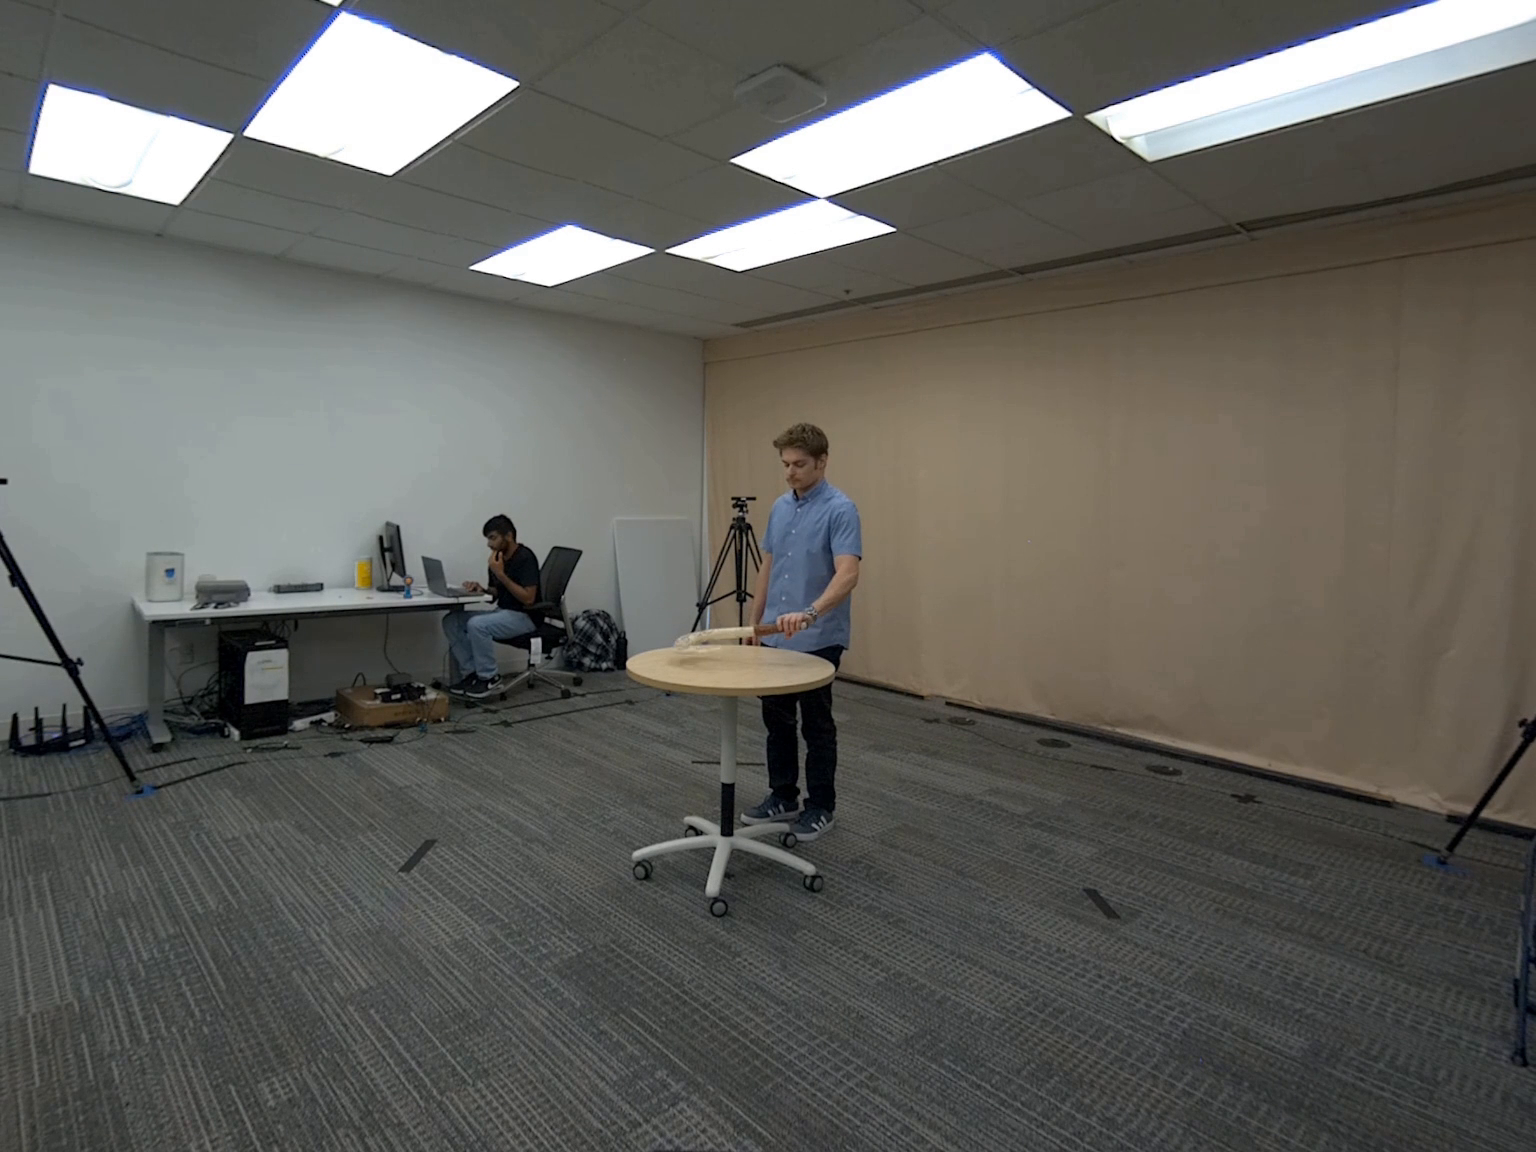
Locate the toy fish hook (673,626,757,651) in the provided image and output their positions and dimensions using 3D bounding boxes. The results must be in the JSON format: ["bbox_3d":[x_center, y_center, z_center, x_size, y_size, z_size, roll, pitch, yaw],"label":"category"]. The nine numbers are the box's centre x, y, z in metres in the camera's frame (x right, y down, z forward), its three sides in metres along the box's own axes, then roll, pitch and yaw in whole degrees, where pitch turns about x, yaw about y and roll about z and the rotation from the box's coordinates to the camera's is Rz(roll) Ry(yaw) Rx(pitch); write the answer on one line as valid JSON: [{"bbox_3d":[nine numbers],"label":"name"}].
[{"bbox_3d":[-0.108,0.239,3.054,0.510,0.047,0.226,-9,17,9],"label":"toy fish hook"}]
